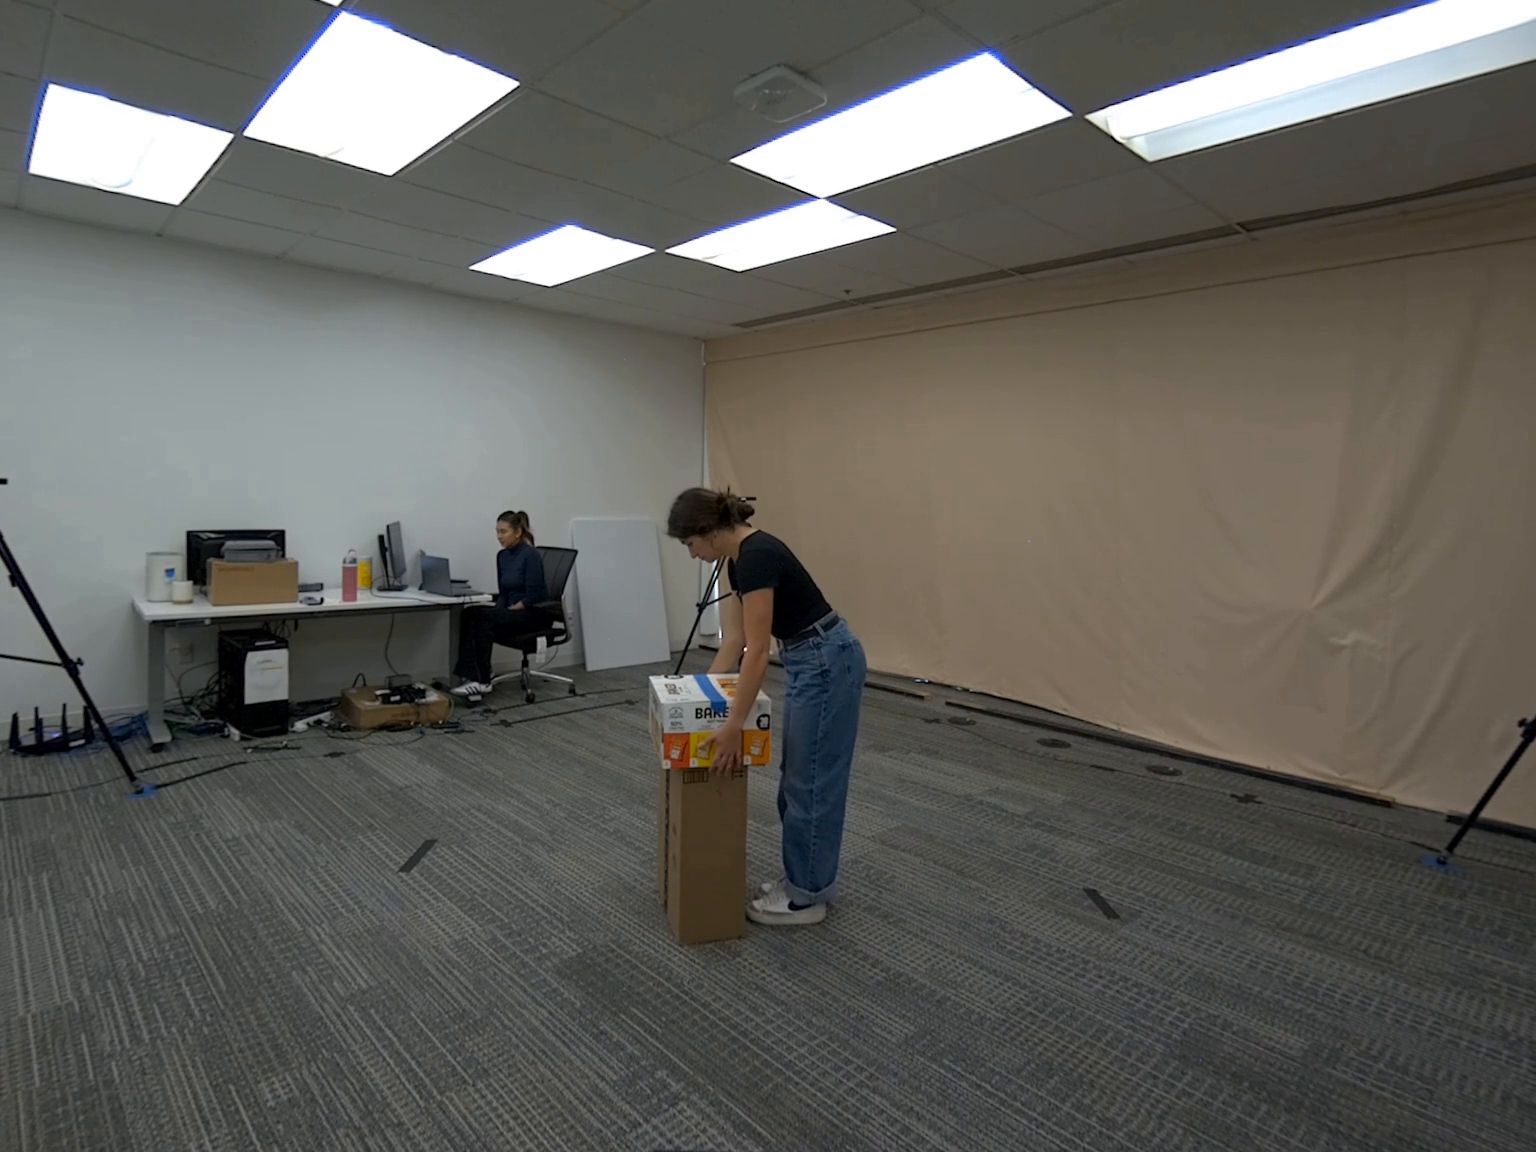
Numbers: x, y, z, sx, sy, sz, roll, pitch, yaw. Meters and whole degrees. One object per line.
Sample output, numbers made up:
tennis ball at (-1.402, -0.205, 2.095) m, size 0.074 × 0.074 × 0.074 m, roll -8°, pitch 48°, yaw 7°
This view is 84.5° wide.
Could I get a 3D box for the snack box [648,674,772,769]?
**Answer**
snack box at (-0.205, 0.466, 2.774) m, size 0.337 × 0.205 × 0.410 m, roll 0°, pitch 5°, yaw -13°
